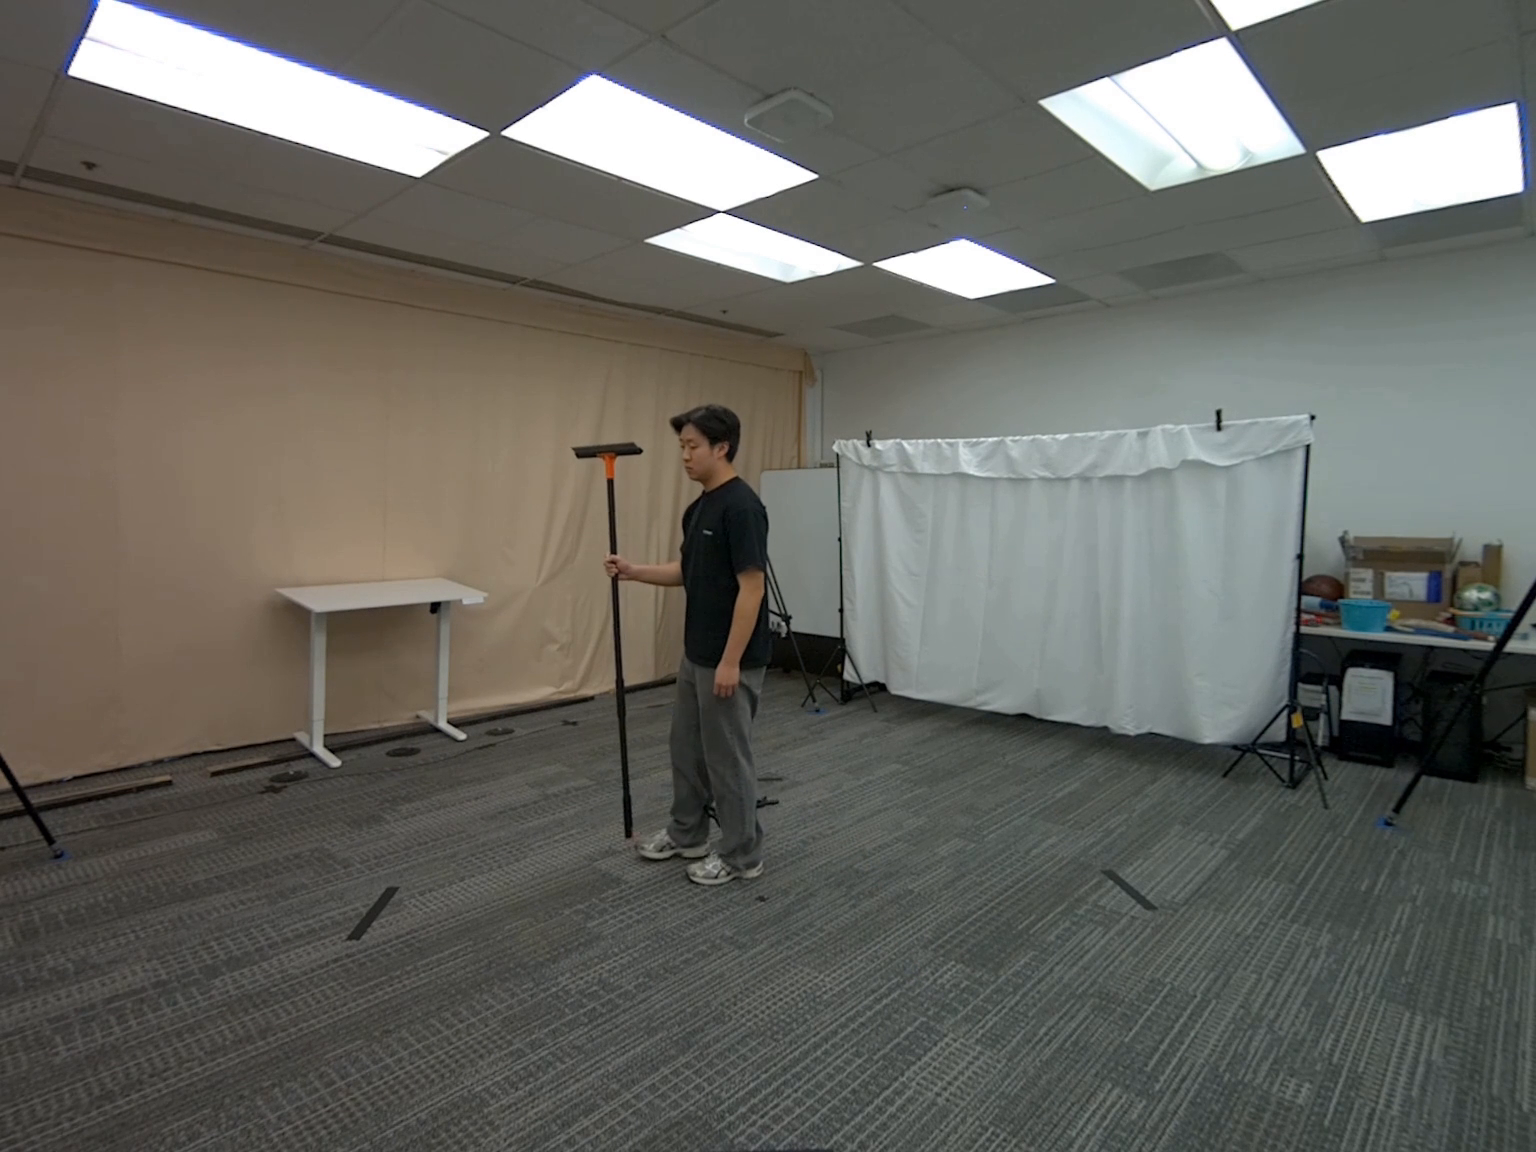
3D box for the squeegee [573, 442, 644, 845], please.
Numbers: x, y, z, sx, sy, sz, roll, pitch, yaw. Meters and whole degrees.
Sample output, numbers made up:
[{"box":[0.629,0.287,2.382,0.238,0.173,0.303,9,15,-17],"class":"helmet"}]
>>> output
[{"box":[-0.572,0.289,3.219,0.051,1.531,0.452,-7,8,-39],"class":"squeegee"}]
